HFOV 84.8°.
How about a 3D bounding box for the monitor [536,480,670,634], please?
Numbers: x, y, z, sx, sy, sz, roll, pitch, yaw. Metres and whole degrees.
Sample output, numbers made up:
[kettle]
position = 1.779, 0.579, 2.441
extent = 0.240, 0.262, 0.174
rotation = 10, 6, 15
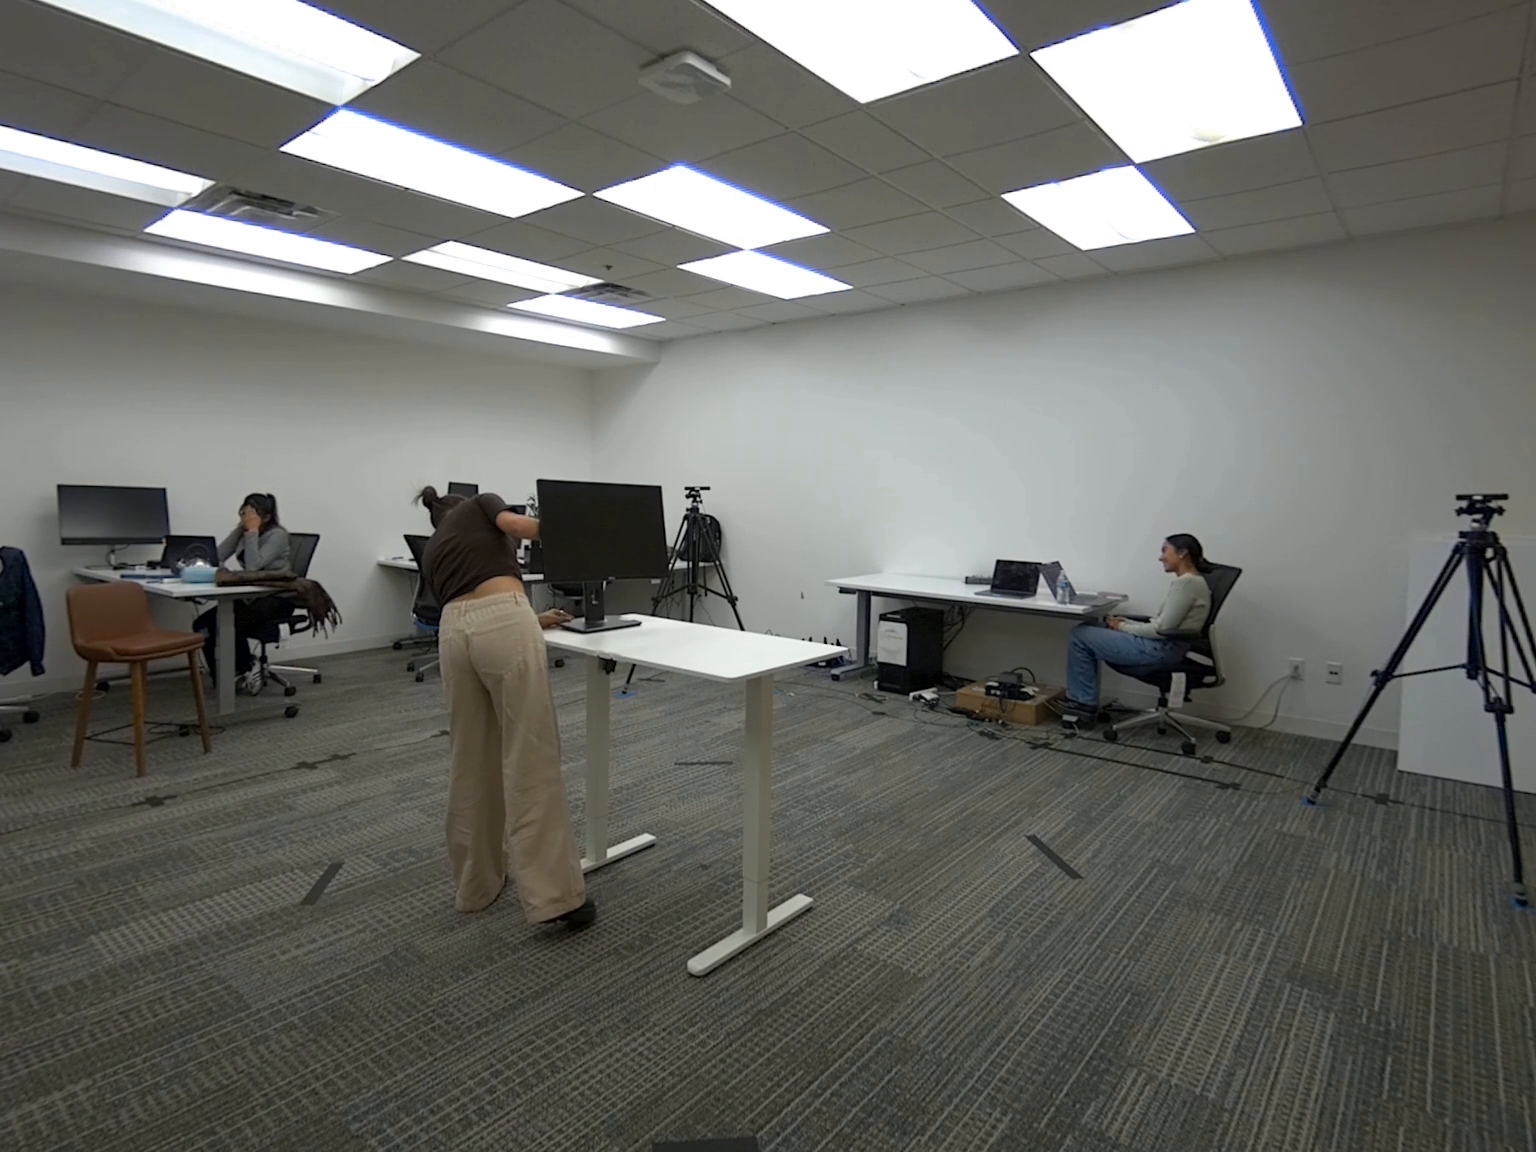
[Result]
[monitor]
position = -0.617, -0.073, 3.036
extent = 0.194, 0.521, 0.522
rotation = 6, 6, 44
